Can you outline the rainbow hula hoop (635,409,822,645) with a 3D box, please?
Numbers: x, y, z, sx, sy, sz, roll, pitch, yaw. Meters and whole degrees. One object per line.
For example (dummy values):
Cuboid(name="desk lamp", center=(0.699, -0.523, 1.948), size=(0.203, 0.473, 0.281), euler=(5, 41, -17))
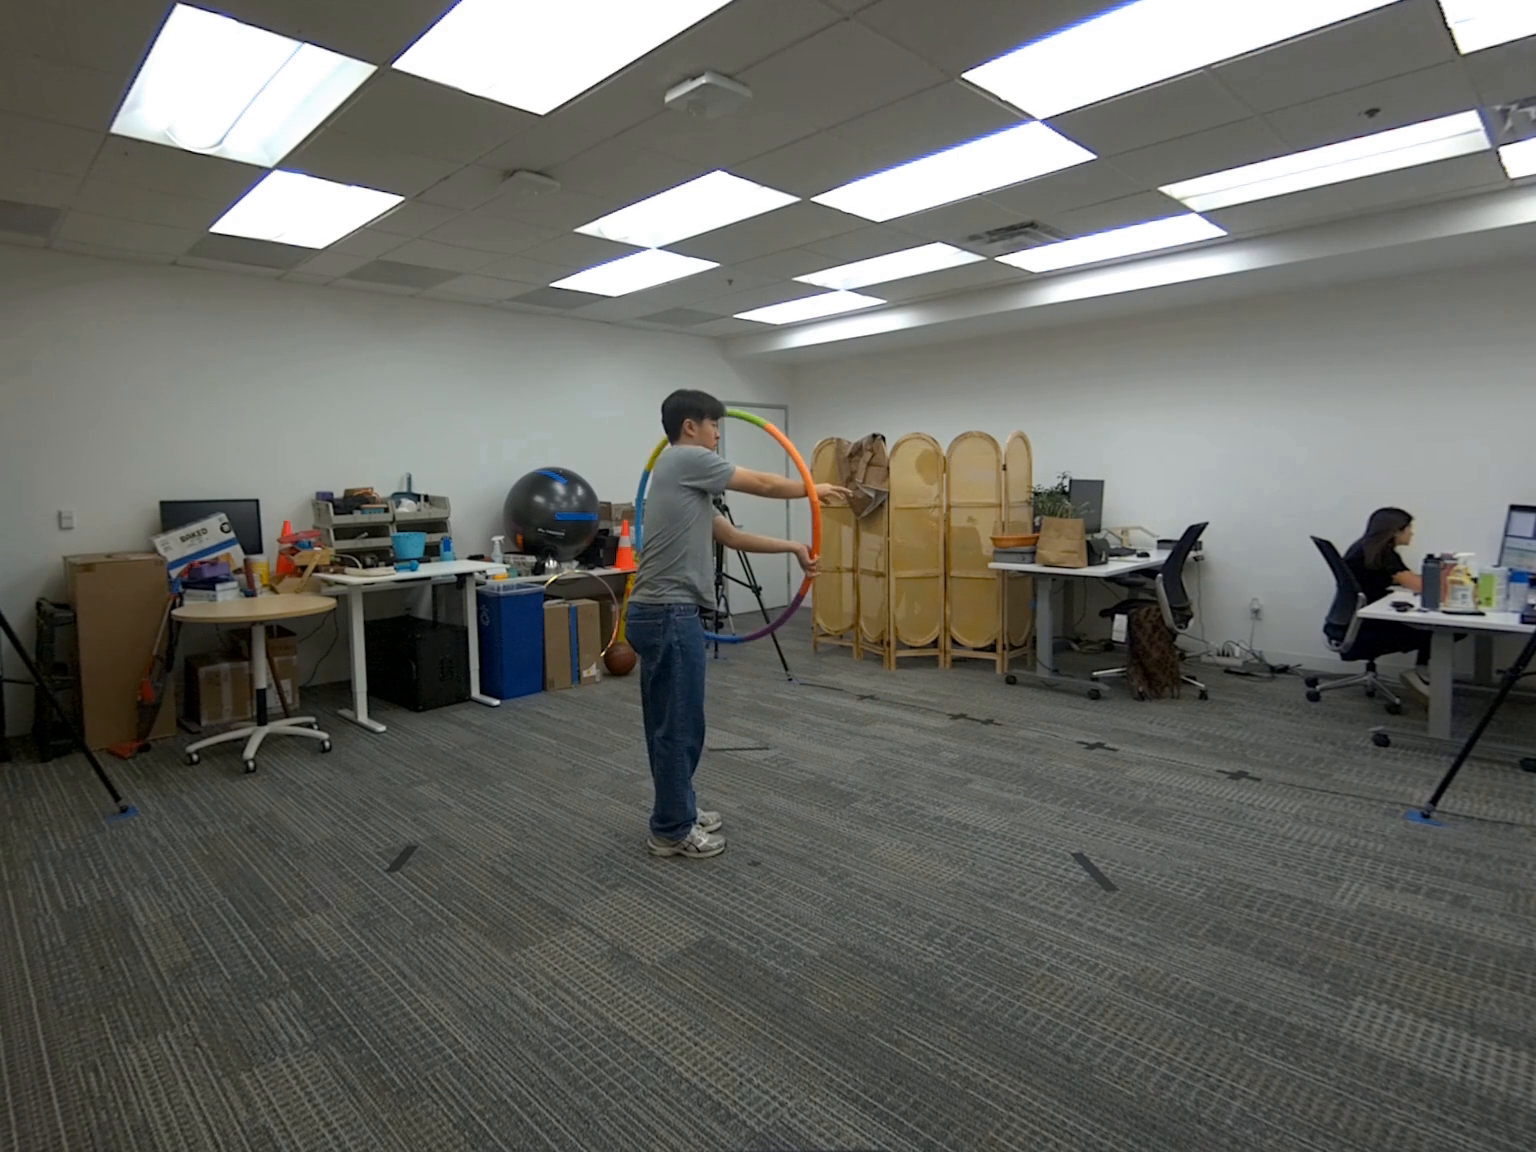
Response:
Cuboid(name="rainbow hula hoop", center=(-0.192, -0.212, 3.558), size=(1.008, 0.974, 0.035), euler=(3, 7, 39))
